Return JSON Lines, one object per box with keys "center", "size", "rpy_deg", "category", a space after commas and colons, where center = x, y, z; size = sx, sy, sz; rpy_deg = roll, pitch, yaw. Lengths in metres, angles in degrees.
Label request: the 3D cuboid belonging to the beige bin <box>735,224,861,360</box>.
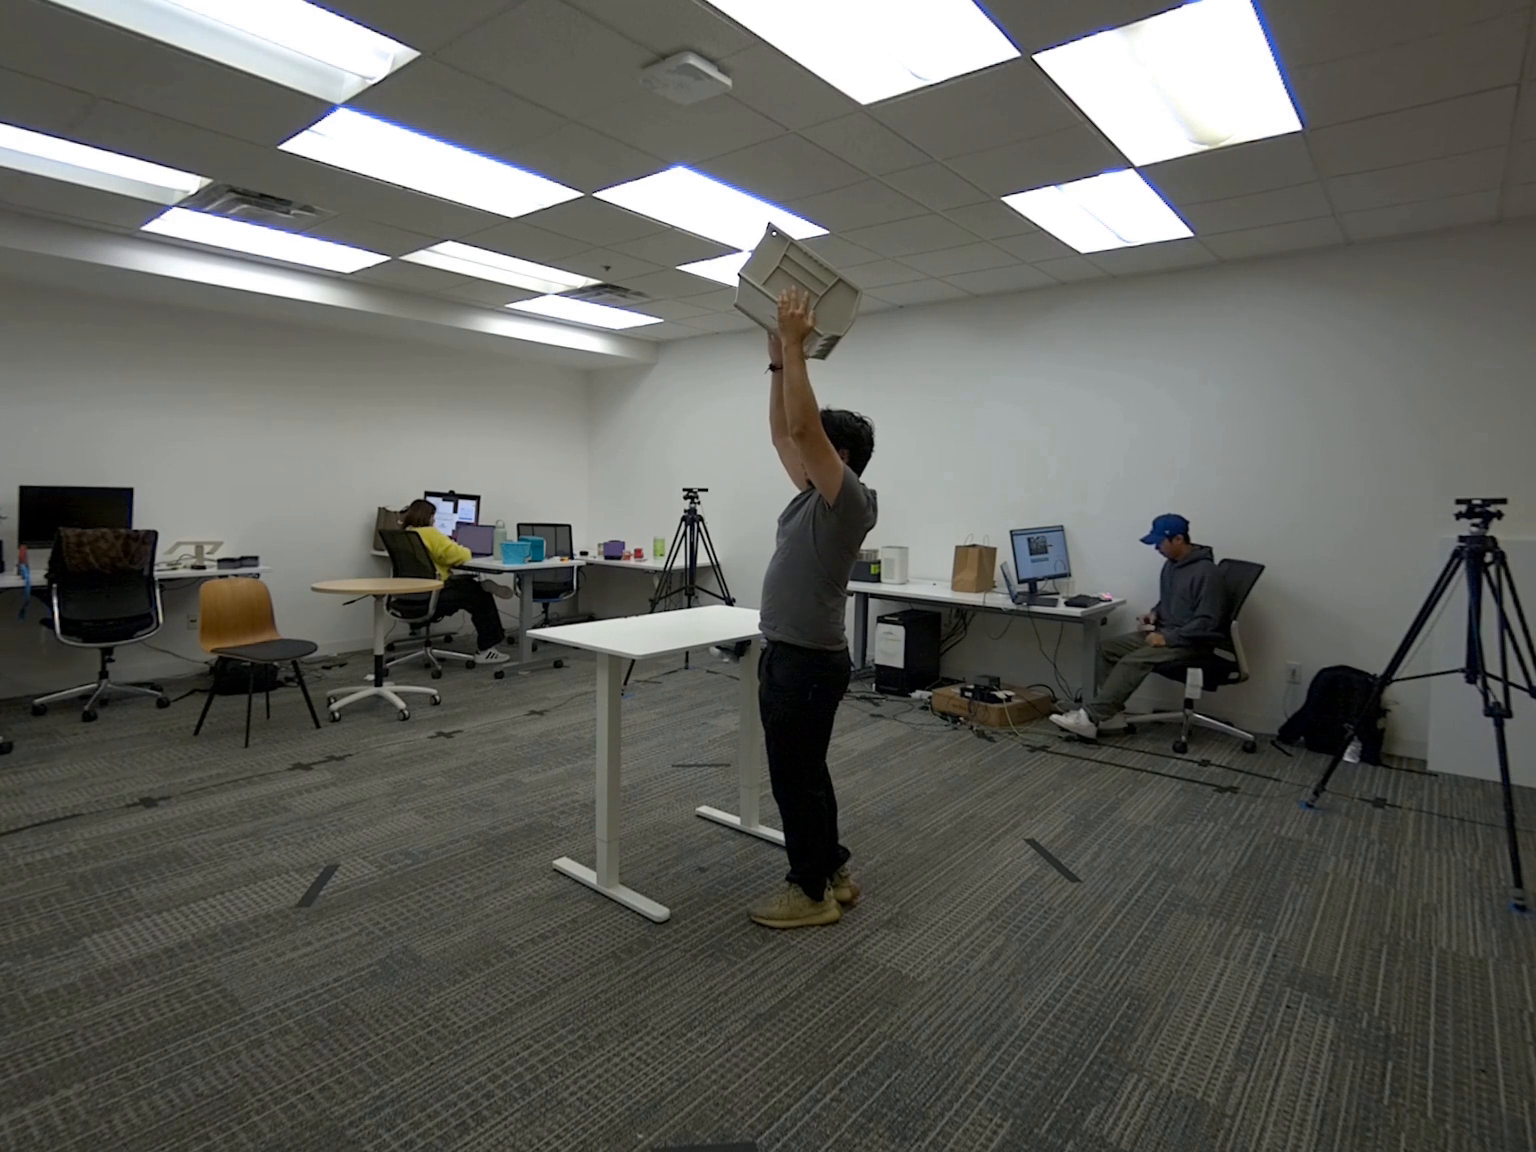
{"center": [0.082, -0.875, 2.696], "size": [0.376, 0.189, 0.424], "rpy_deg": [35, 1, -3], "category": "beige bin"}
